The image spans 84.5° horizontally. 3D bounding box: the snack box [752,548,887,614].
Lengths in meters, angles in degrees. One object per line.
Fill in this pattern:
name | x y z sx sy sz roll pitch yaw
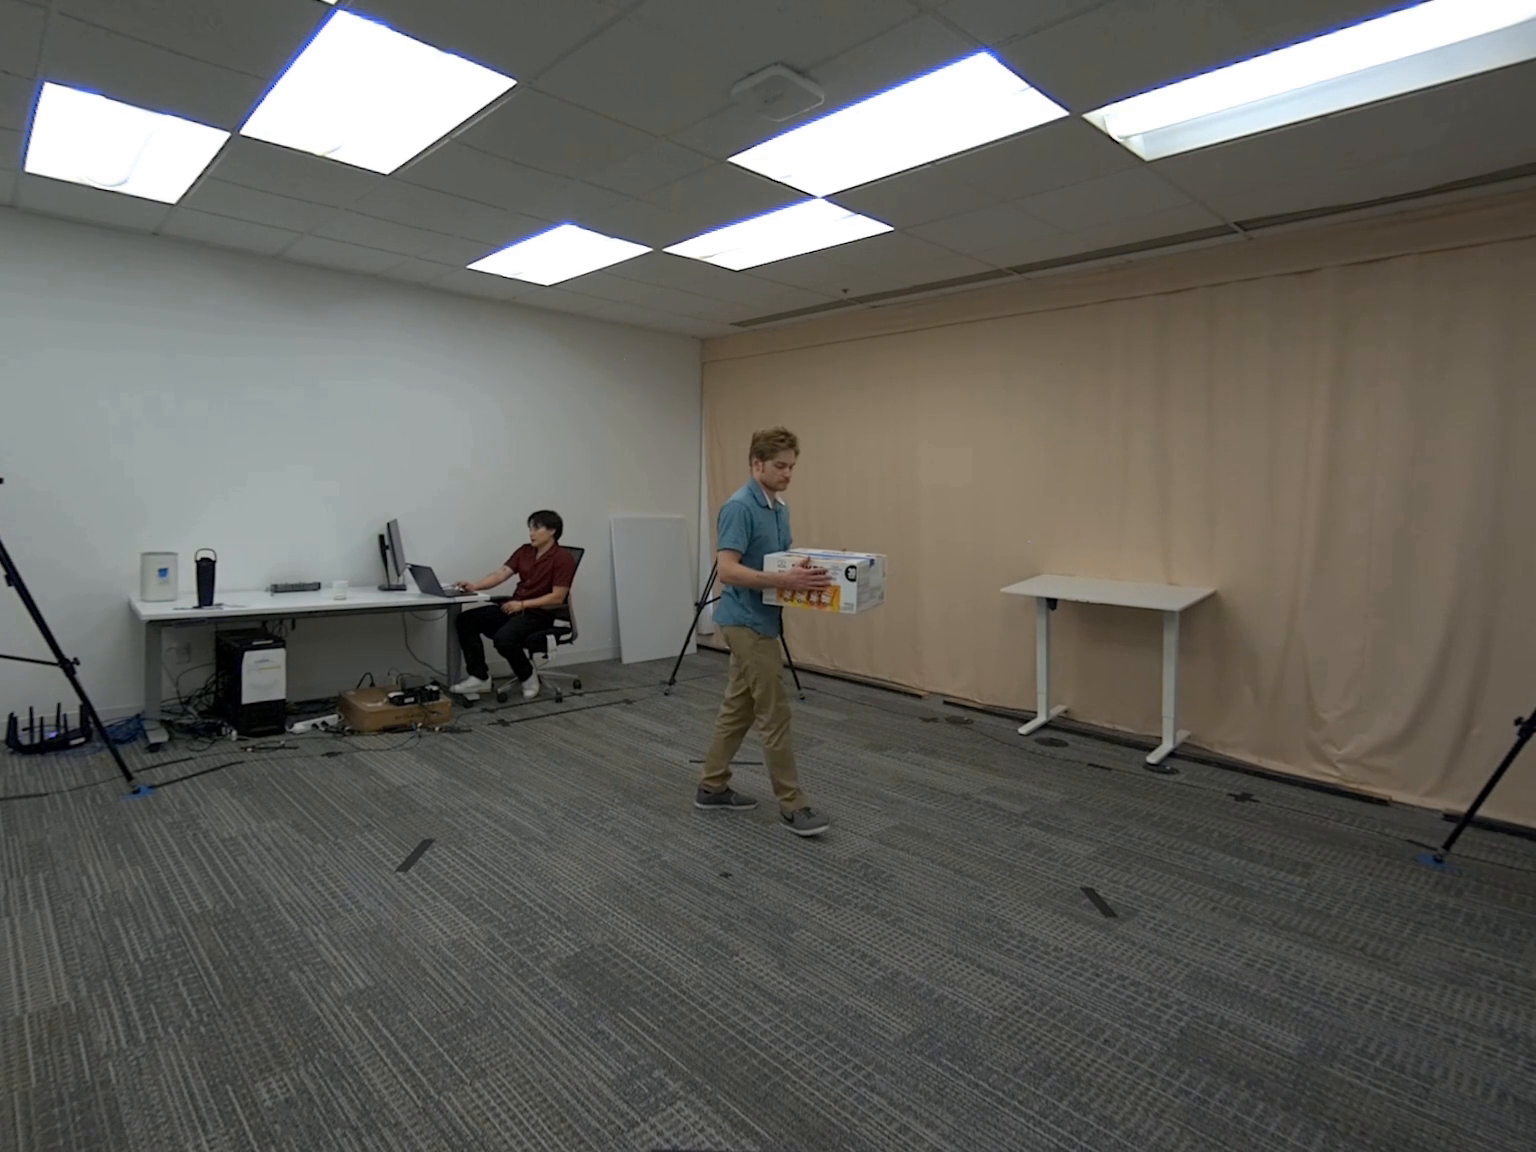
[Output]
snack box | 0.228 0.009 3.482 0.414 0.204 0.335 6 9 29
